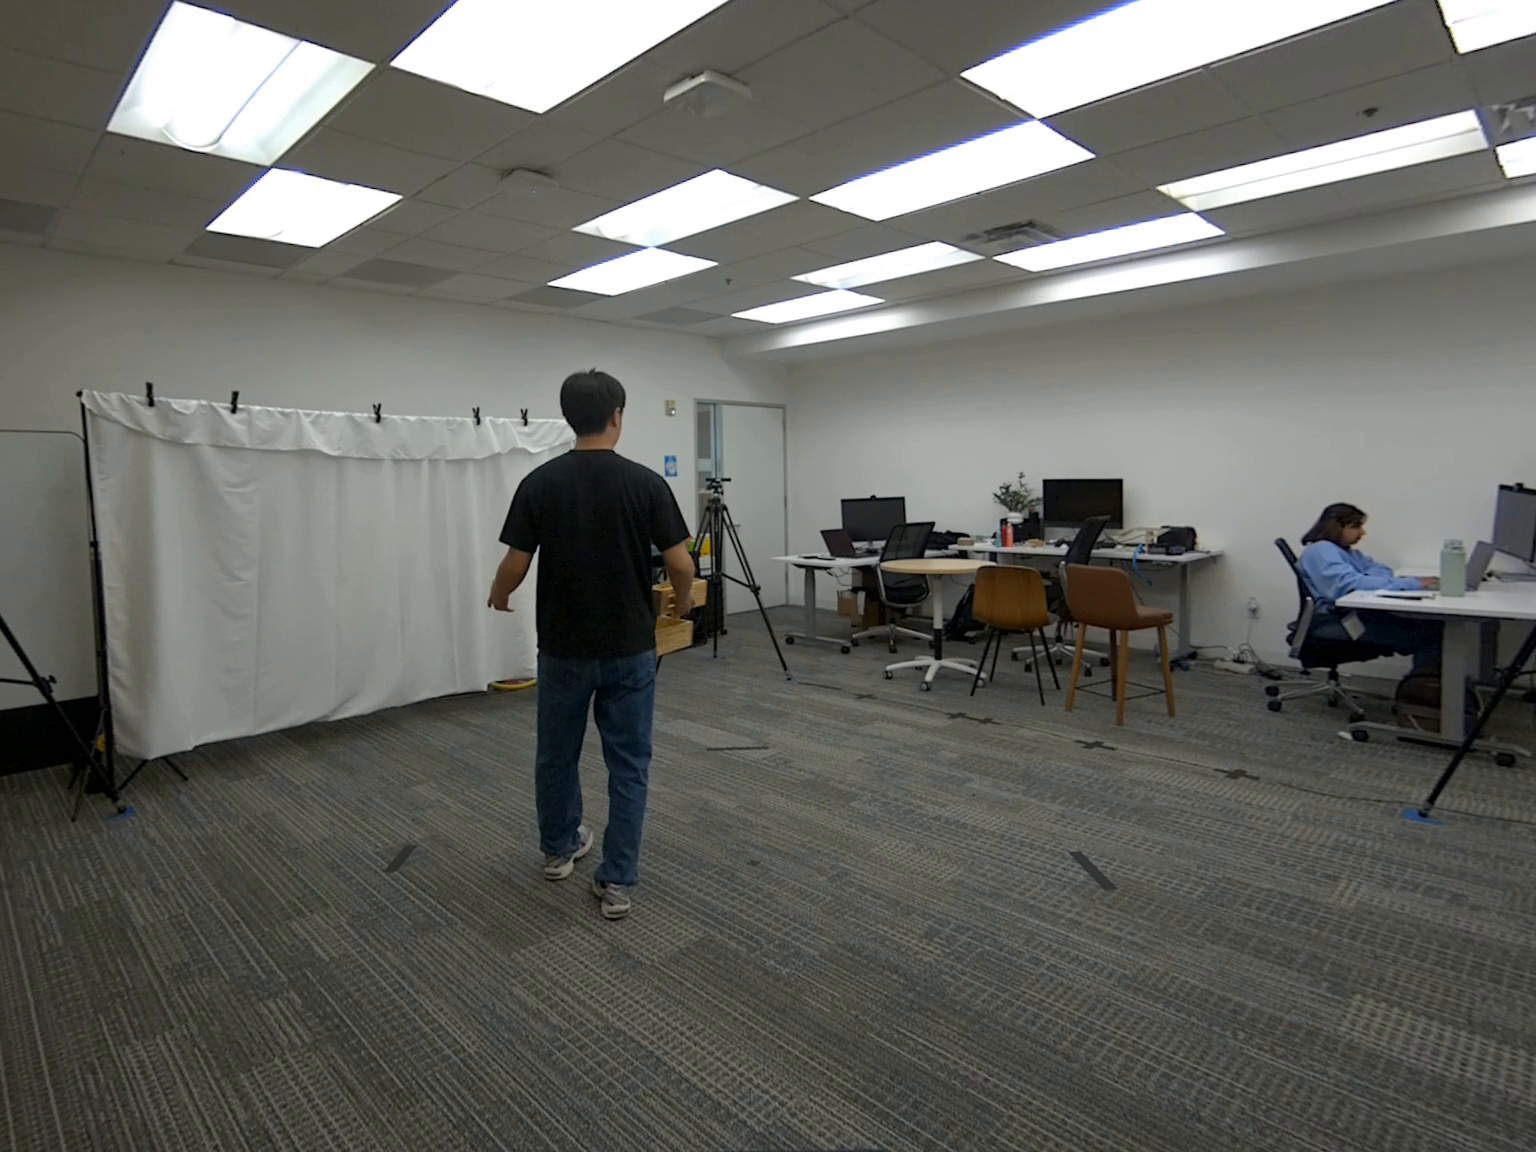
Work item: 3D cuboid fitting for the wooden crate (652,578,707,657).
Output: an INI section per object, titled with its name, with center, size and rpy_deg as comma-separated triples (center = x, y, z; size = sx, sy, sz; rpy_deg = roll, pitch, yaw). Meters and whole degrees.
[wooden crate]
center = -0.448, 0.133, 3.199
size = 0.311, 0.271, 0.317
rpy_deg = 9, 10, 30
